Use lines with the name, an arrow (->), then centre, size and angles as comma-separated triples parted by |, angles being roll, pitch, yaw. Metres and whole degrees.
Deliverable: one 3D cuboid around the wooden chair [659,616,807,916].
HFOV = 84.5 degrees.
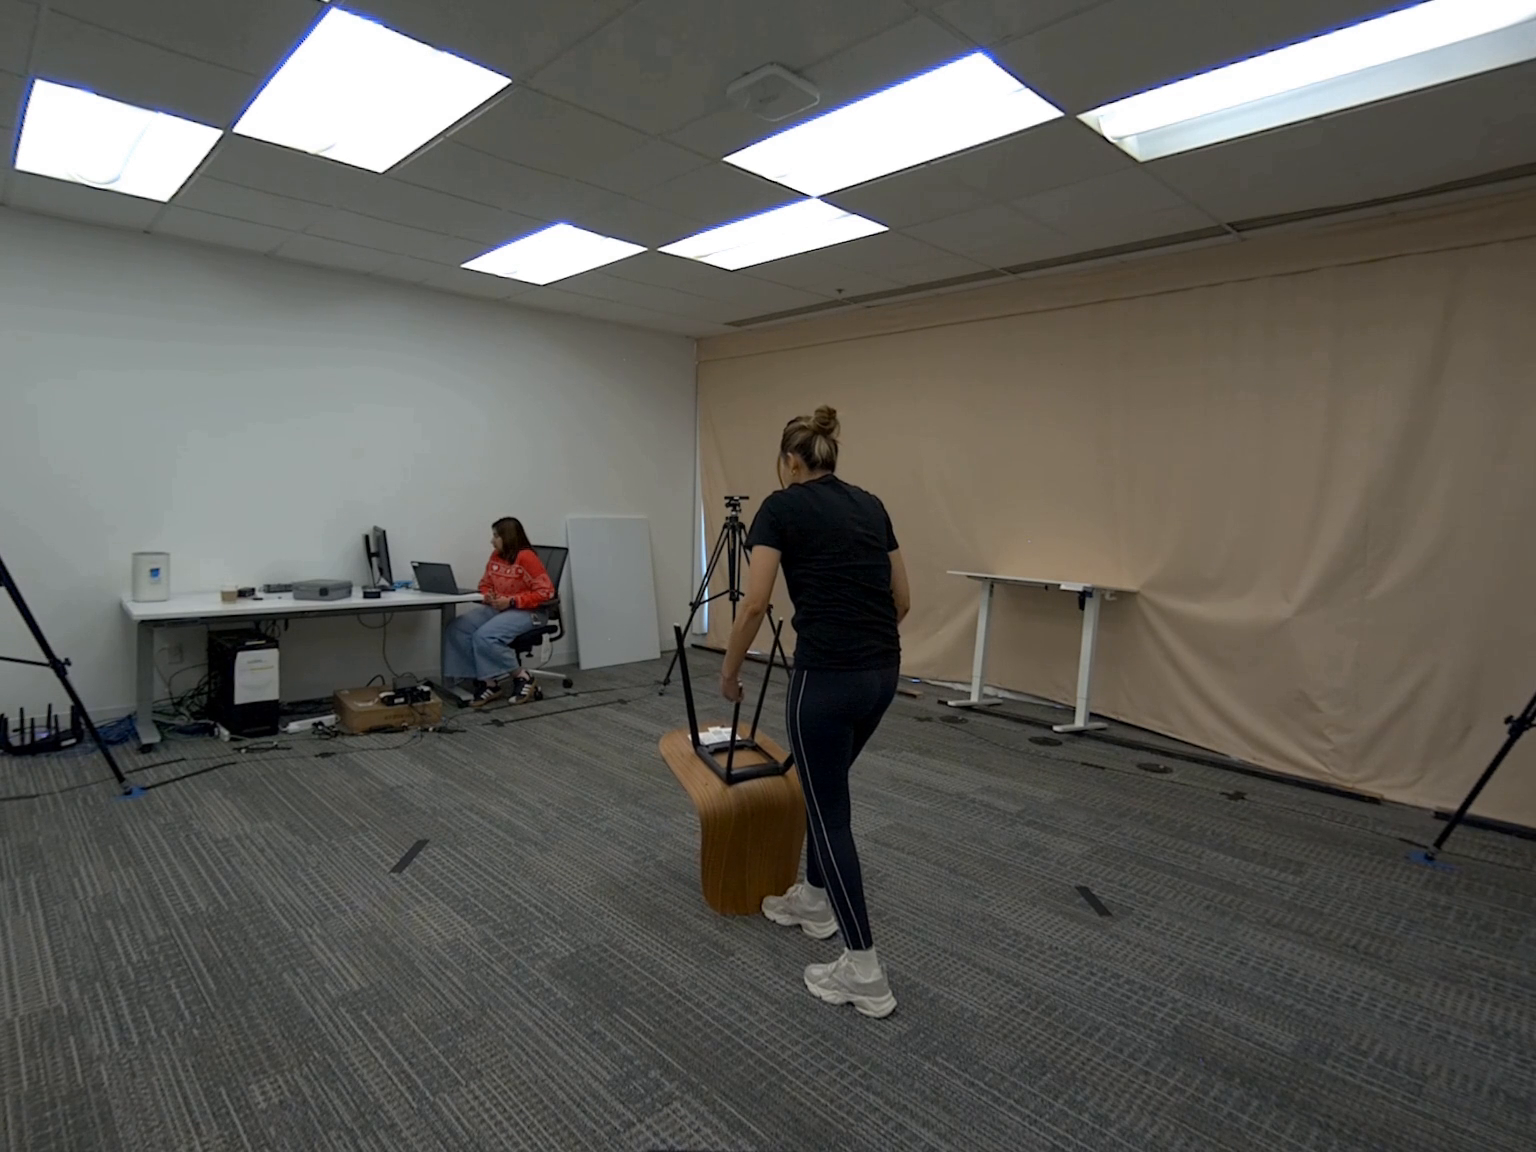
wooden chair -> -0.104, 0.644, 2.953 | 0.468, 0.870, 0.539 | -1, 16, -33
